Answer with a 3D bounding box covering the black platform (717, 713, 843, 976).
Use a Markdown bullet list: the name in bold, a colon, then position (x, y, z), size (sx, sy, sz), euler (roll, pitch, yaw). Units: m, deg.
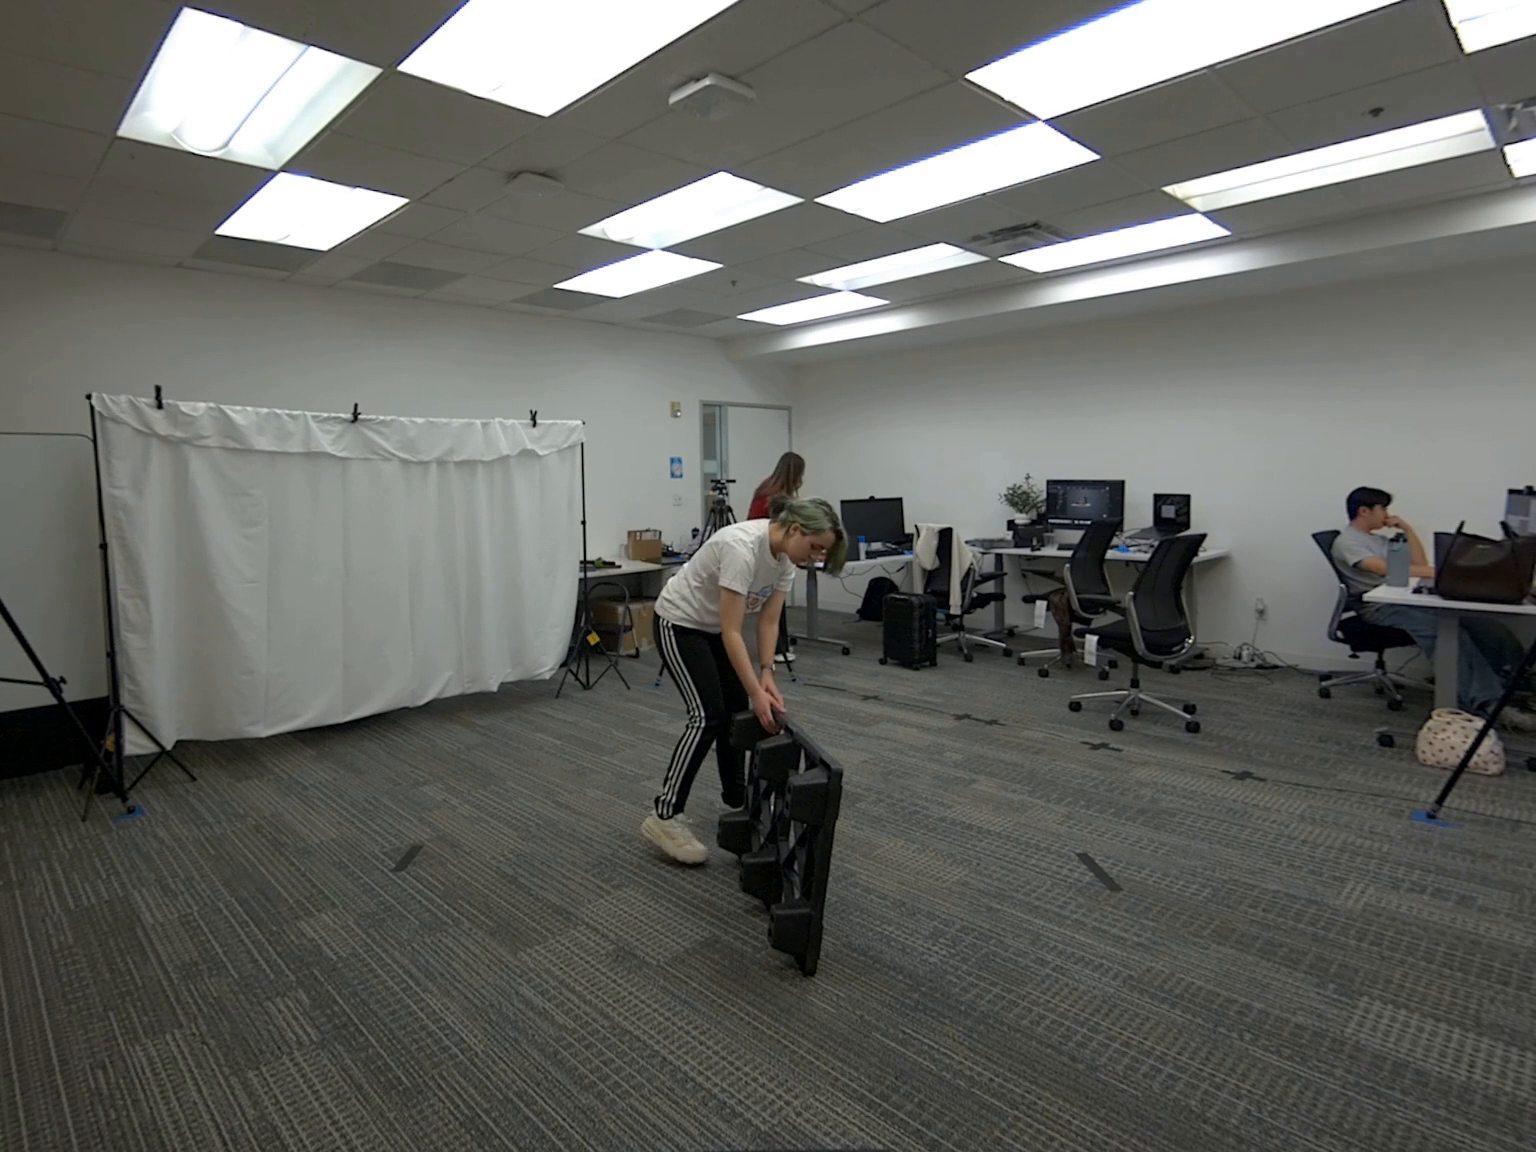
- **black platform**: position (0.016, 0.782, 2.745), size (0.141, 0.604, 0.819), euler (7, 2, -16)
